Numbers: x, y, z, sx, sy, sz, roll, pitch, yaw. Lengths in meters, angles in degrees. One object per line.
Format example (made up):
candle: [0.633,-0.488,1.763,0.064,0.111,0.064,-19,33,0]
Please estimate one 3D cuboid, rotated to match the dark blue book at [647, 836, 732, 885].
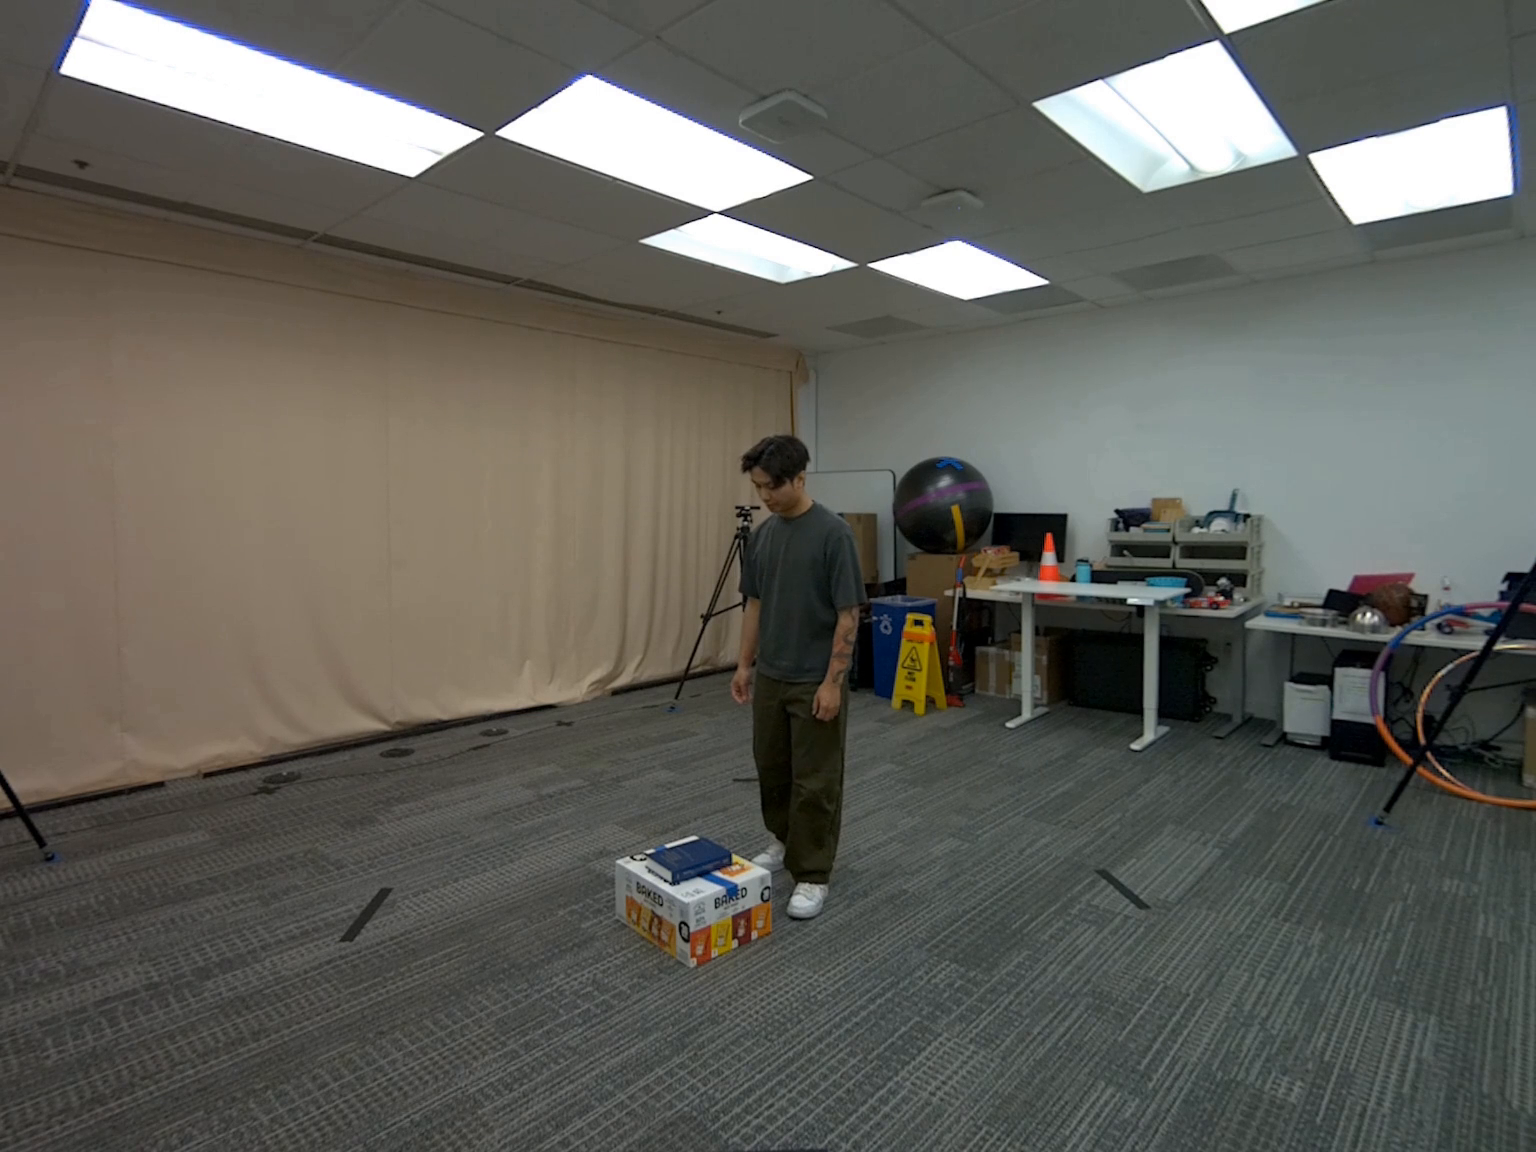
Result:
dark blue book: [-0.264,0.950,2.792,0.238,0.045,0.169,-4,6,-38]
